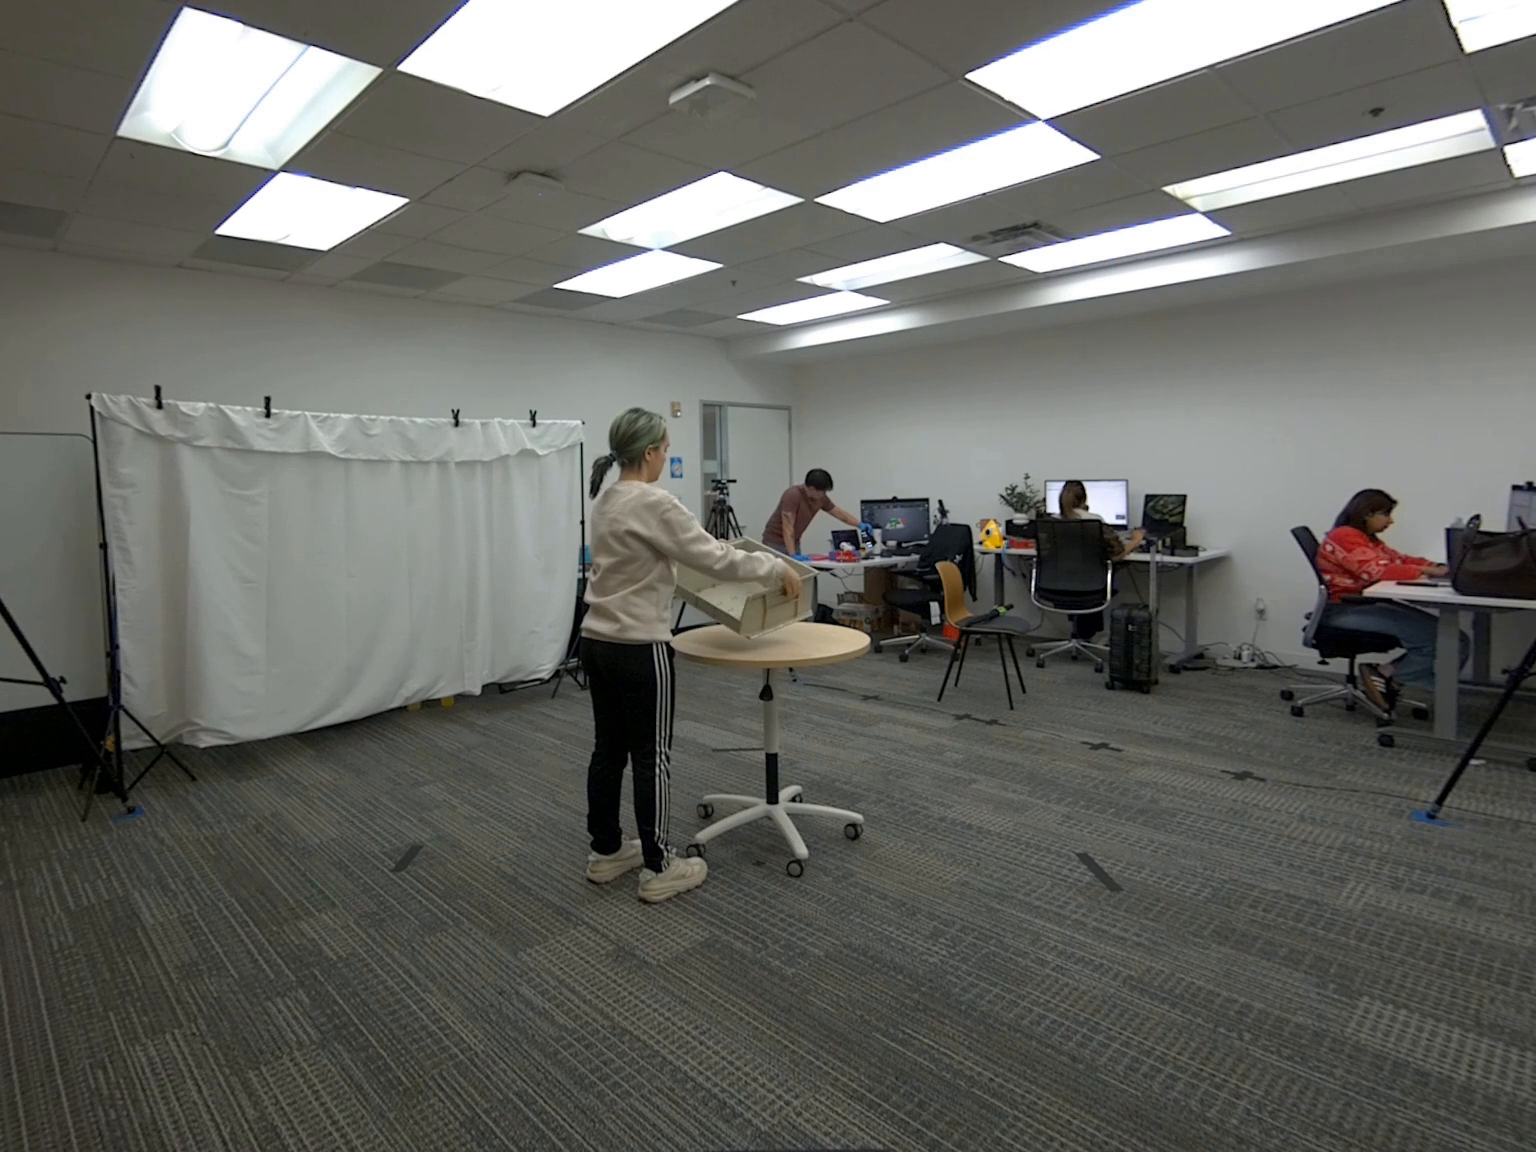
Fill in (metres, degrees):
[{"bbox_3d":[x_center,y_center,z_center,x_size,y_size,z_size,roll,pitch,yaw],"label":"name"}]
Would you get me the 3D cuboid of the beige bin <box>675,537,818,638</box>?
[{"bbox_3d":[-0.094,0.041,3.215,0.370,0.185,0.438,-17,29,-37],"label":"beige bin"}]
